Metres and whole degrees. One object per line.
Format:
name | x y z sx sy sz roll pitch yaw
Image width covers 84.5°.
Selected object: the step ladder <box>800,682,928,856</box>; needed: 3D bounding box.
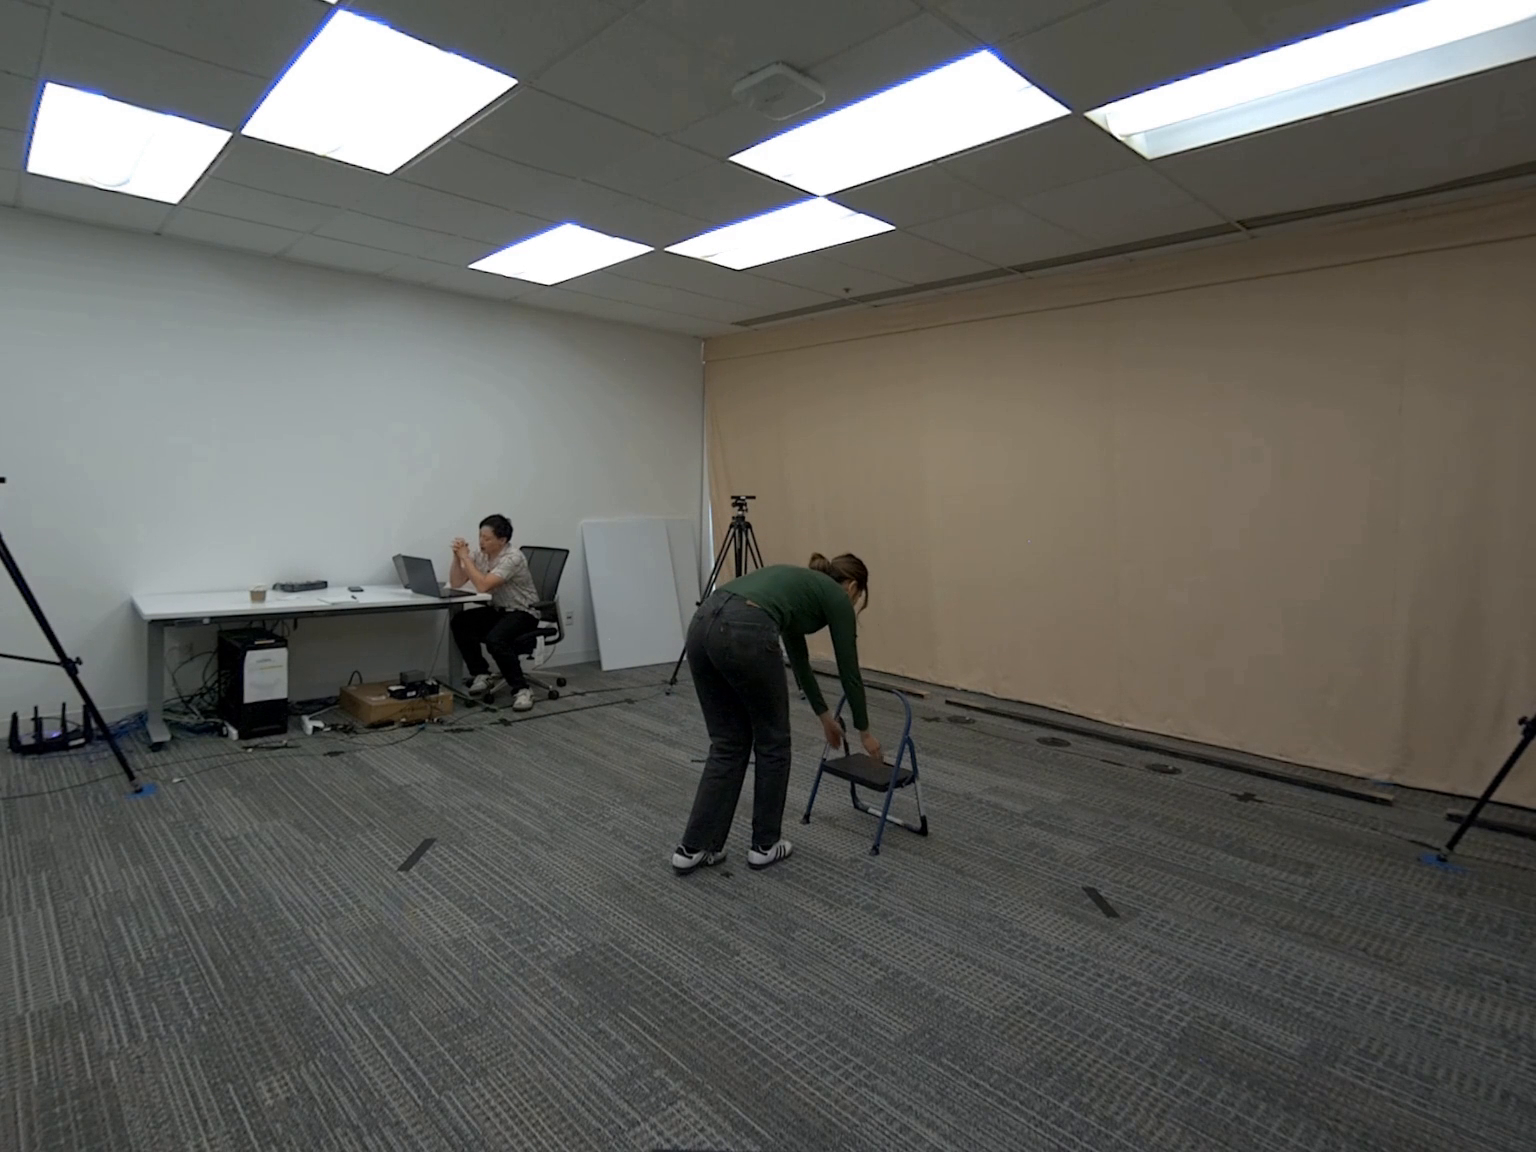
step ladder | 0.407 0.772 3.554 0.341 0.605 0.441 -1 4 -40
